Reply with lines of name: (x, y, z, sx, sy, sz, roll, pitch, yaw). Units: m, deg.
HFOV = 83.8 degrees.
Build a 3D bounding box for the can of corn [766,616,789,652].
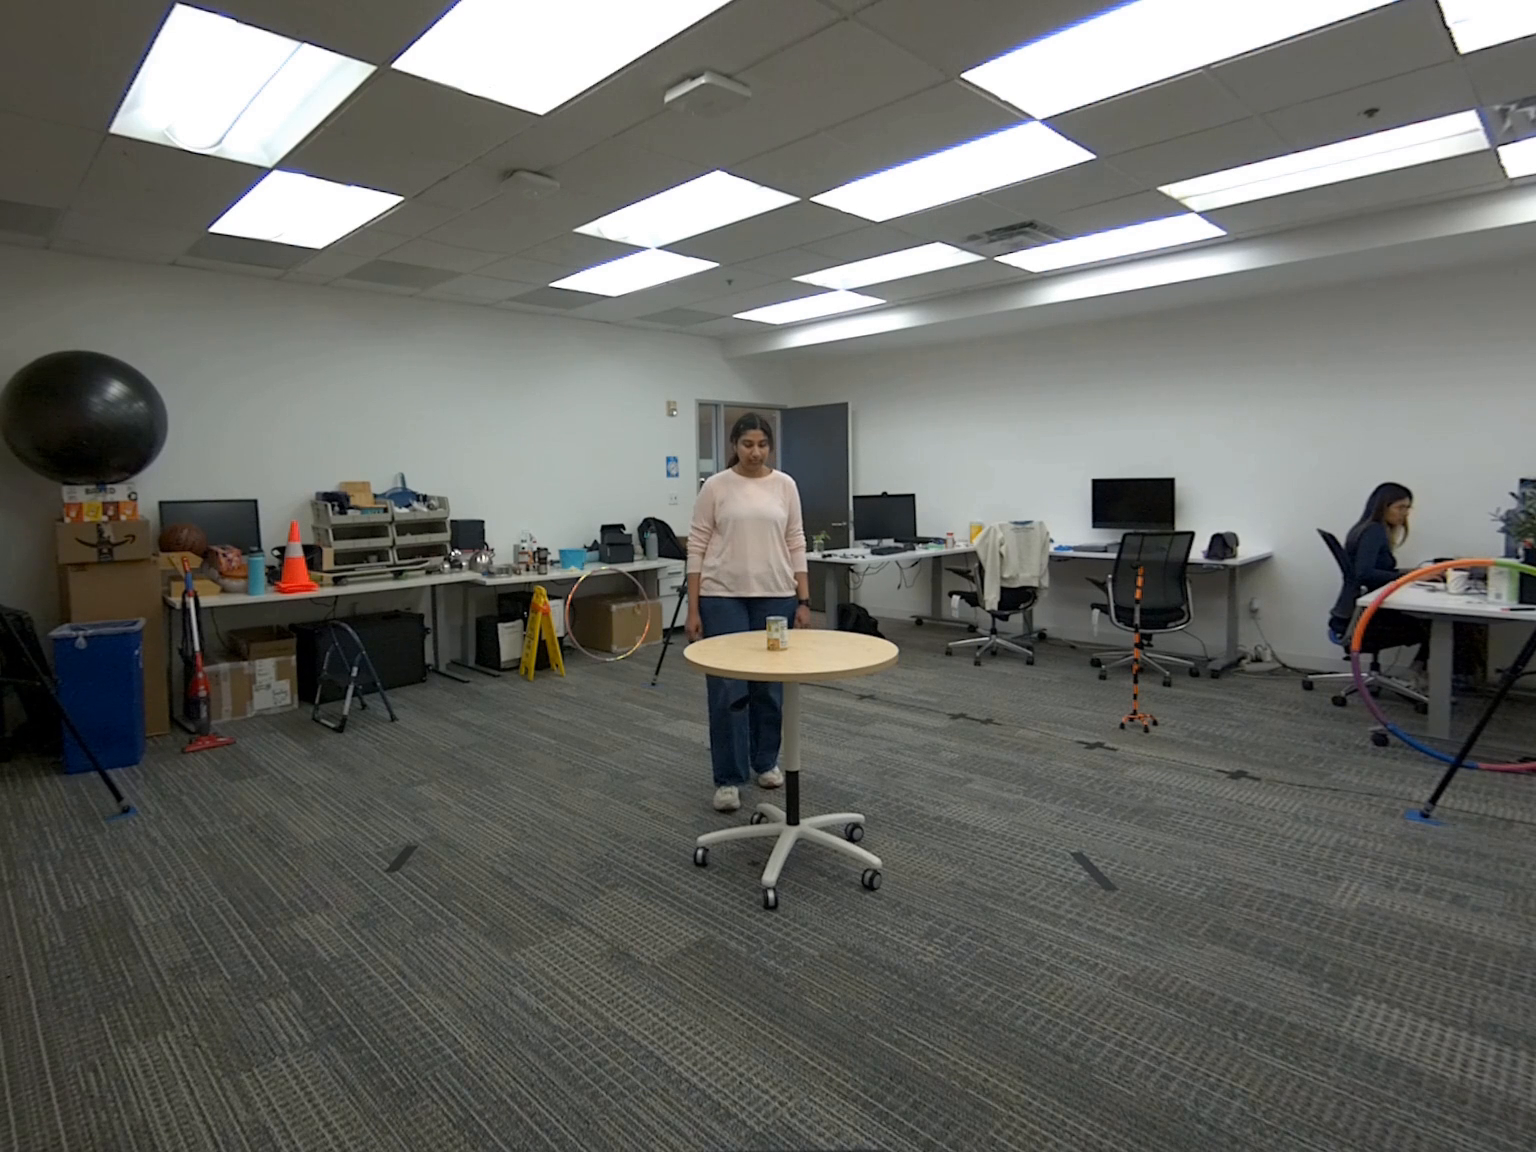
can of corn: (0.030, 0.208, 3.068, 0.074, 0.110, 0.074, -2, 5, -1)
